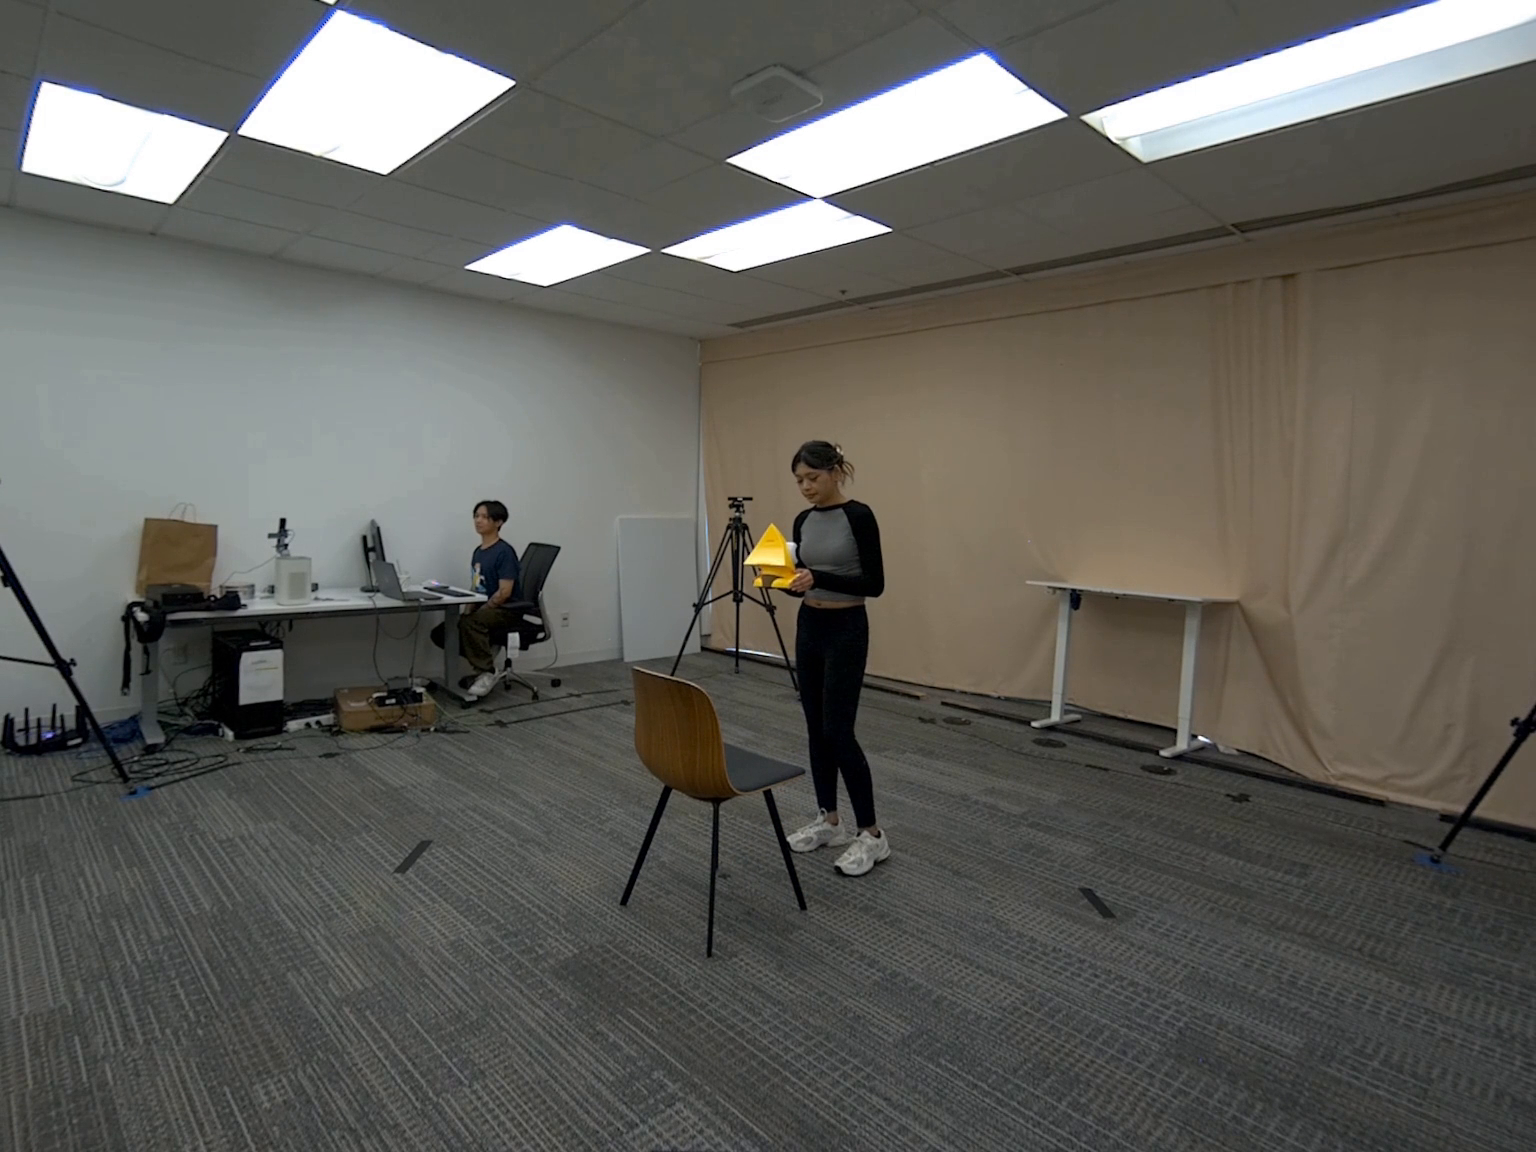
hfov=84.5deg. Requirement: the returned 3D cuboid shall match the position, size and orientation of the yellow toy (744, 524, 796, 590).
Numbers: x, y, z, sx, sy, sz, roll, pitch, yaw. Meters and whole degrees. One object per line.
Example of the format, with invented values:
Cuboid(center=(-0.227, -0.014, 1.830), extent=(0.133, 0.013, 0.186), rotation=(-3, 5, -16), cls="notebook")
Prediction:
Cuboid(center=(0.043, -0.072, 3.090), extent=(0.210, 0.231, 0.188), rotation=(2, -2, 43), cls="yellow toy")
